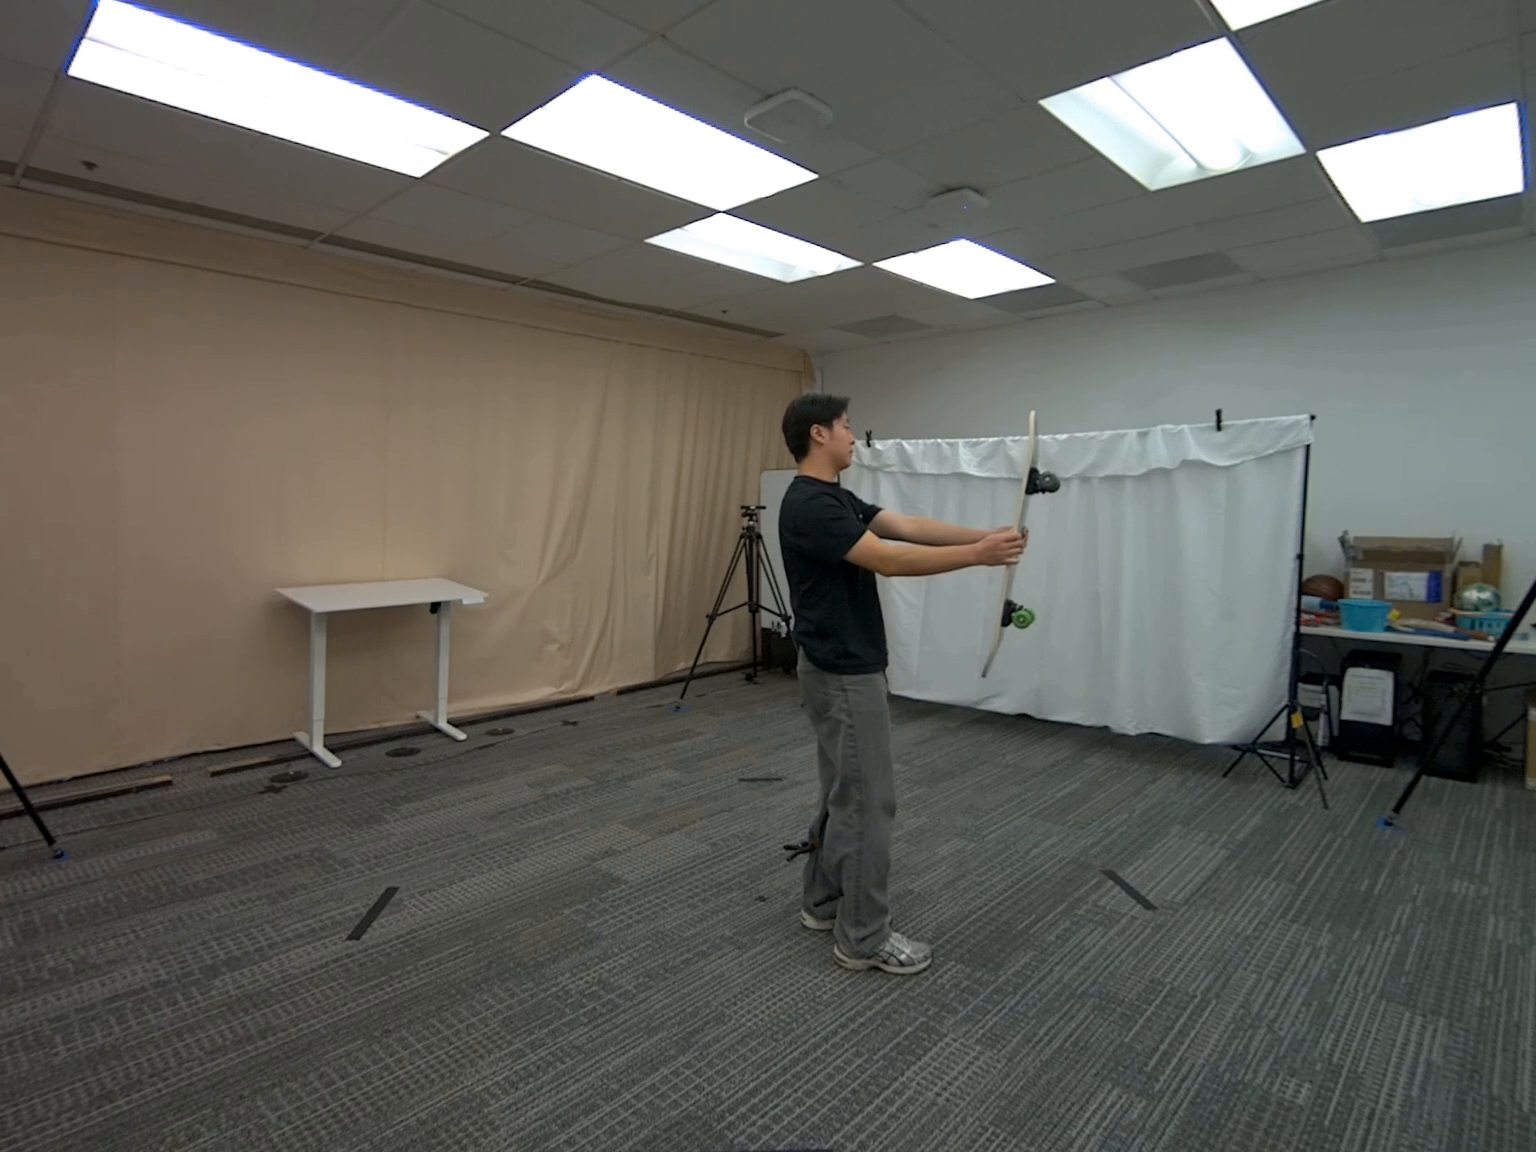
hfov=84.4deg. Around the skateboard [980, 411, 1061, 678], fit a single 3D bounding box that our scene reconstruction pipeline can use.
[{"bbox_3d":[0.747,-0.077,2.449,0.113,0.784,0.189,12,5,23],"label":"skateboard"}]
